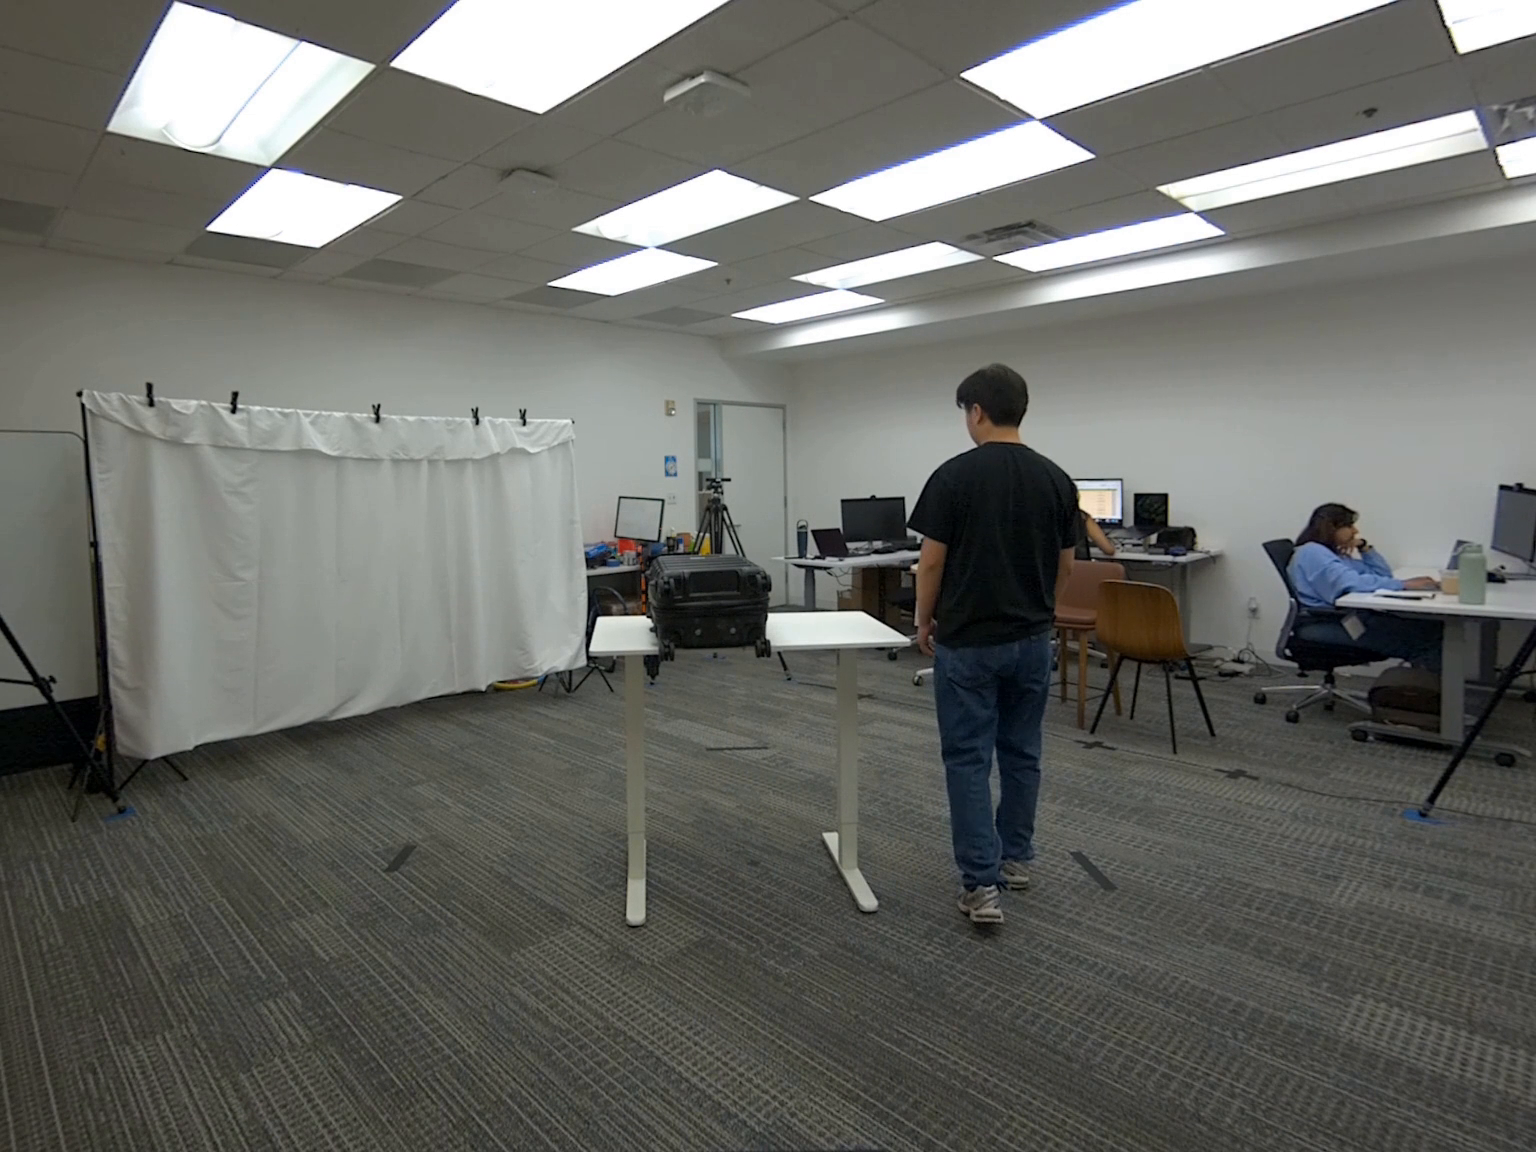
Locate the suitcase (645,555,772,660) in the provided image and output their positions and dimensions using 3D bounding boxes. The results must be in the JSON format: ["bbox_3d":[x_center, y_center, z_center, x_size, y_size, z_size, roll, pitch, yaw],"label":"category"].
[{"bbox_3d":[-0.243,0.053,2.991,0.380,0.255,0.995,-2,9,-12],"label":"suitcase"}]
